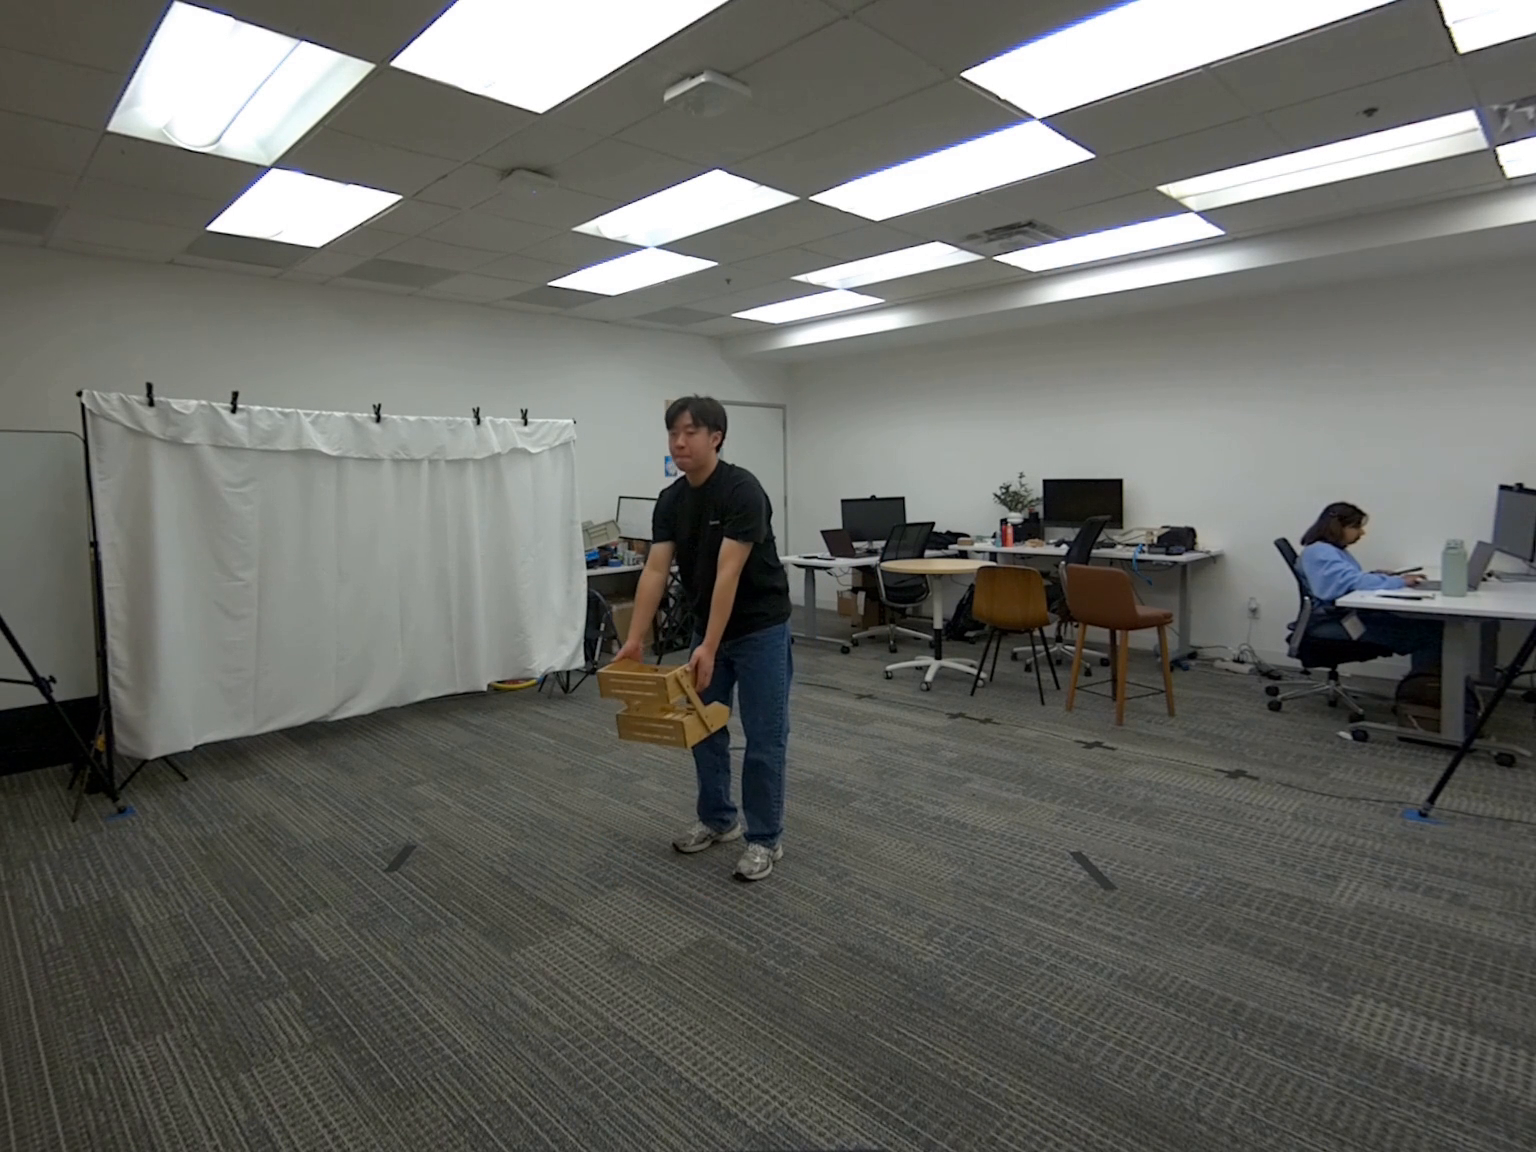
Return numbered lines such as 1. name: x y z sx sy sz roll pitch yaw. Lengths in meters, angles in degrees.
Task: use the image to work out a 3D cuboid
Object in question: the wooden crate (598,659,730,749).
1. wooden crate: -0.346 0.405 2.882 0.333 0.271 0.297 -3 11 35
